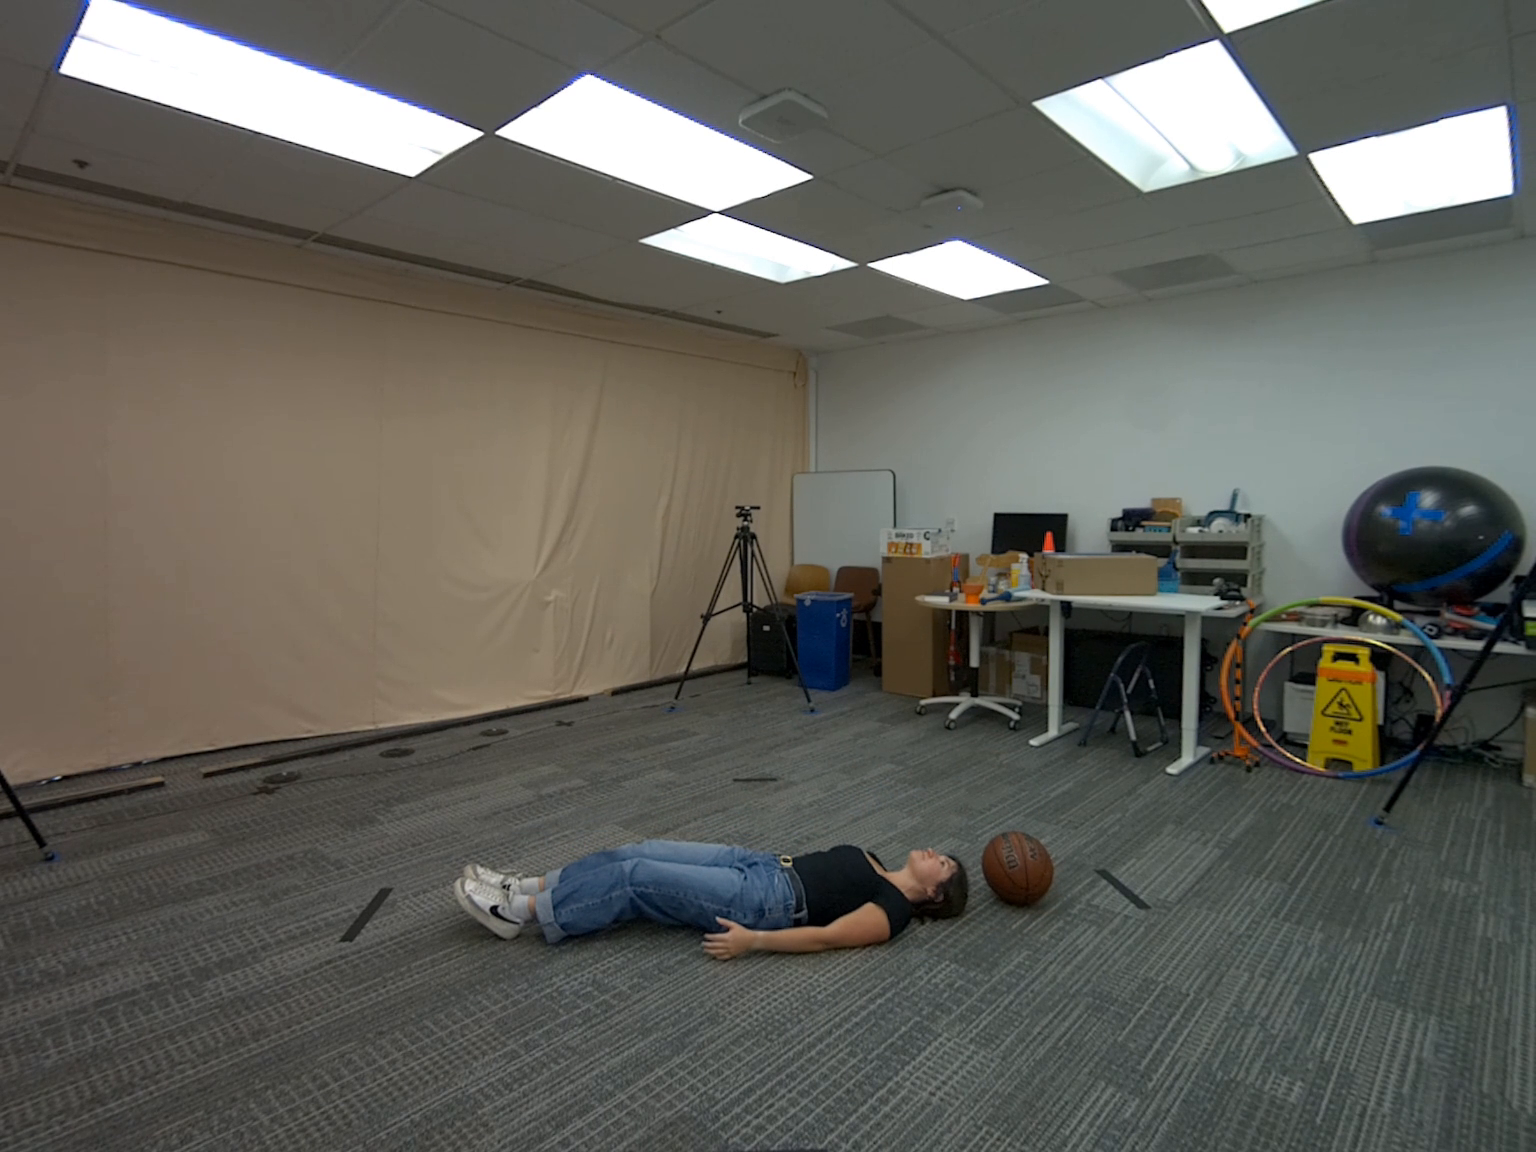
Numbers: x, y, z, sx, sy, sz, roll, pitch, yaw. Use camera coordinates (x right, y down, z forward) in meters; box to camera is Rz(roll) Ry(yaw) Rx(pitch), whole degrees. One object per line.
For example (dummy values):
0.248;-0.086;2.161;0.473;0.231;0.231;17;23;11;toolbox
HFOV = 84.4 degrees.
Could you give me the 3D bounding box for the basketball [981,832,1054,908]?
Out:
0.884;1.021;2.964;0.236;0.235;0.237;0;4;-2;basketball
